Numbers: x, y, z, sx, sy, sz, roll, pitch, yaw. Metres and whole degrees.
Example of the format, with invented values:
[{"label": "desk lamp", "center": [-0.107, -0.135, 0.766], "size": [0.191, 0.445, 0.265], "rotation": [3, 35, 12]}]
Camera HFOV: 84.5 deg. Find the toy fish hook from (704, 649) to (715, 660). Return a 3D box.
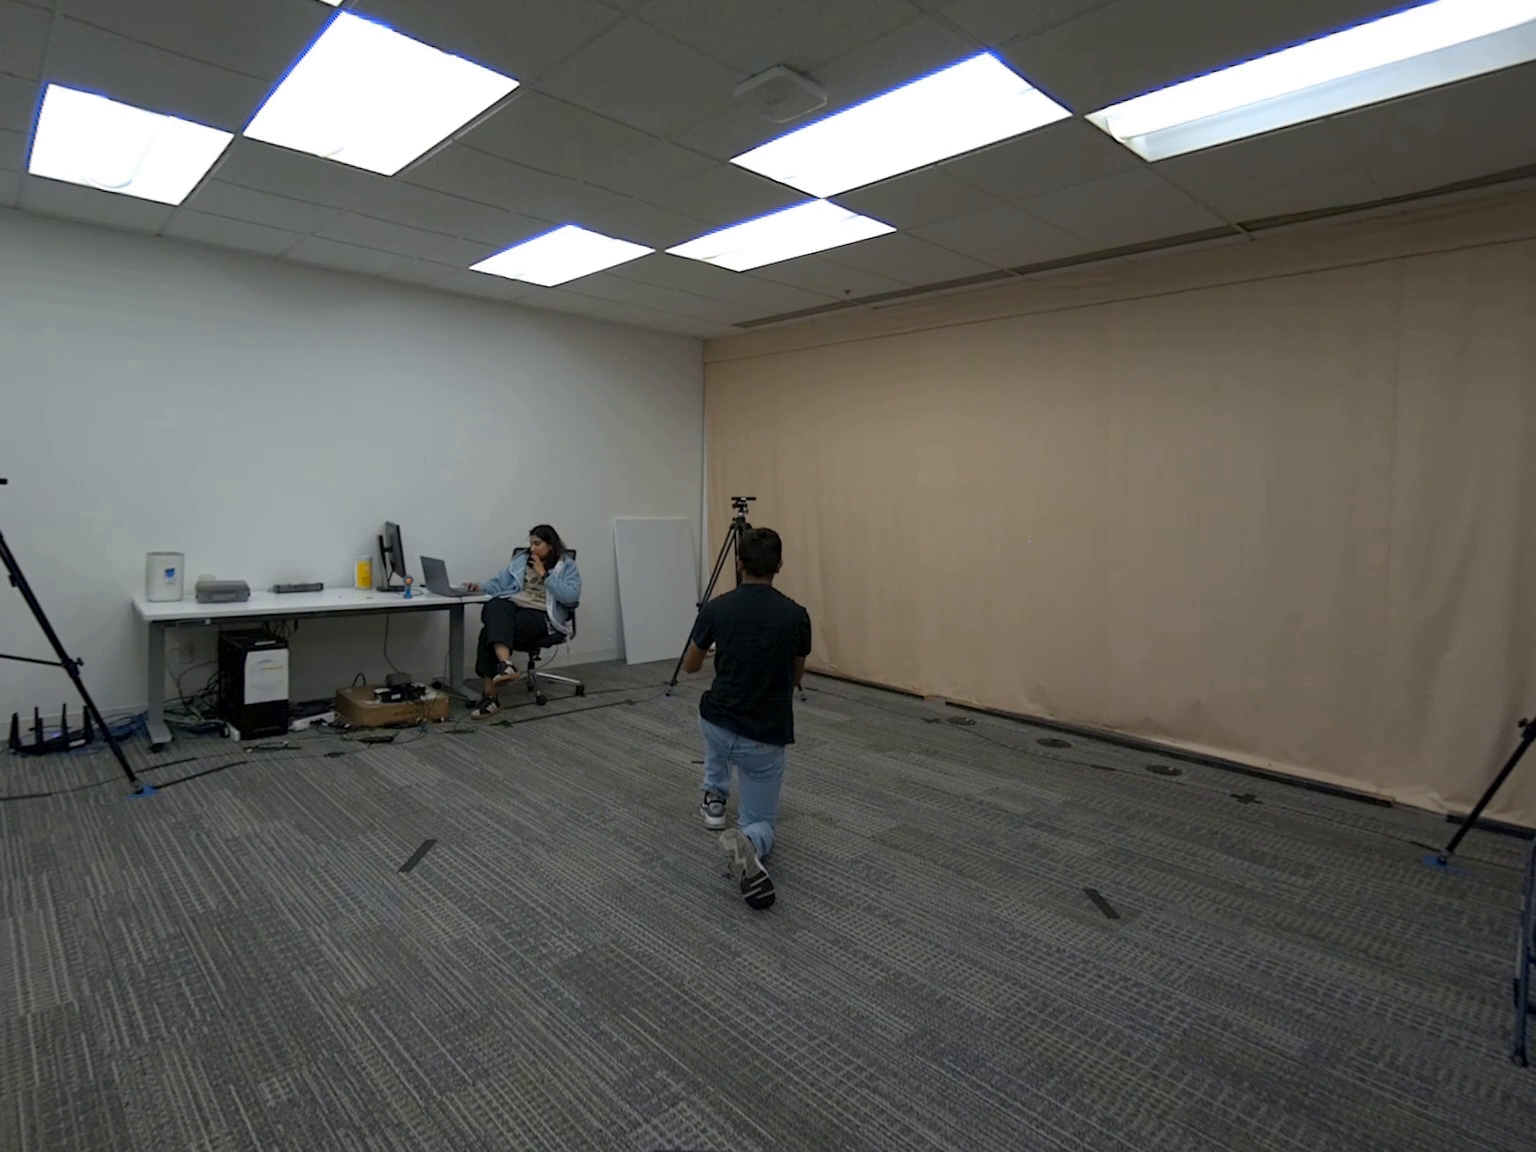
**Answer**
[{"label": "toy fish hook", "center": [-0.095, 0.318, 3.948], "size": [0.506, 0.048, 0.226], "rotation": [2, 11, -1]}]
